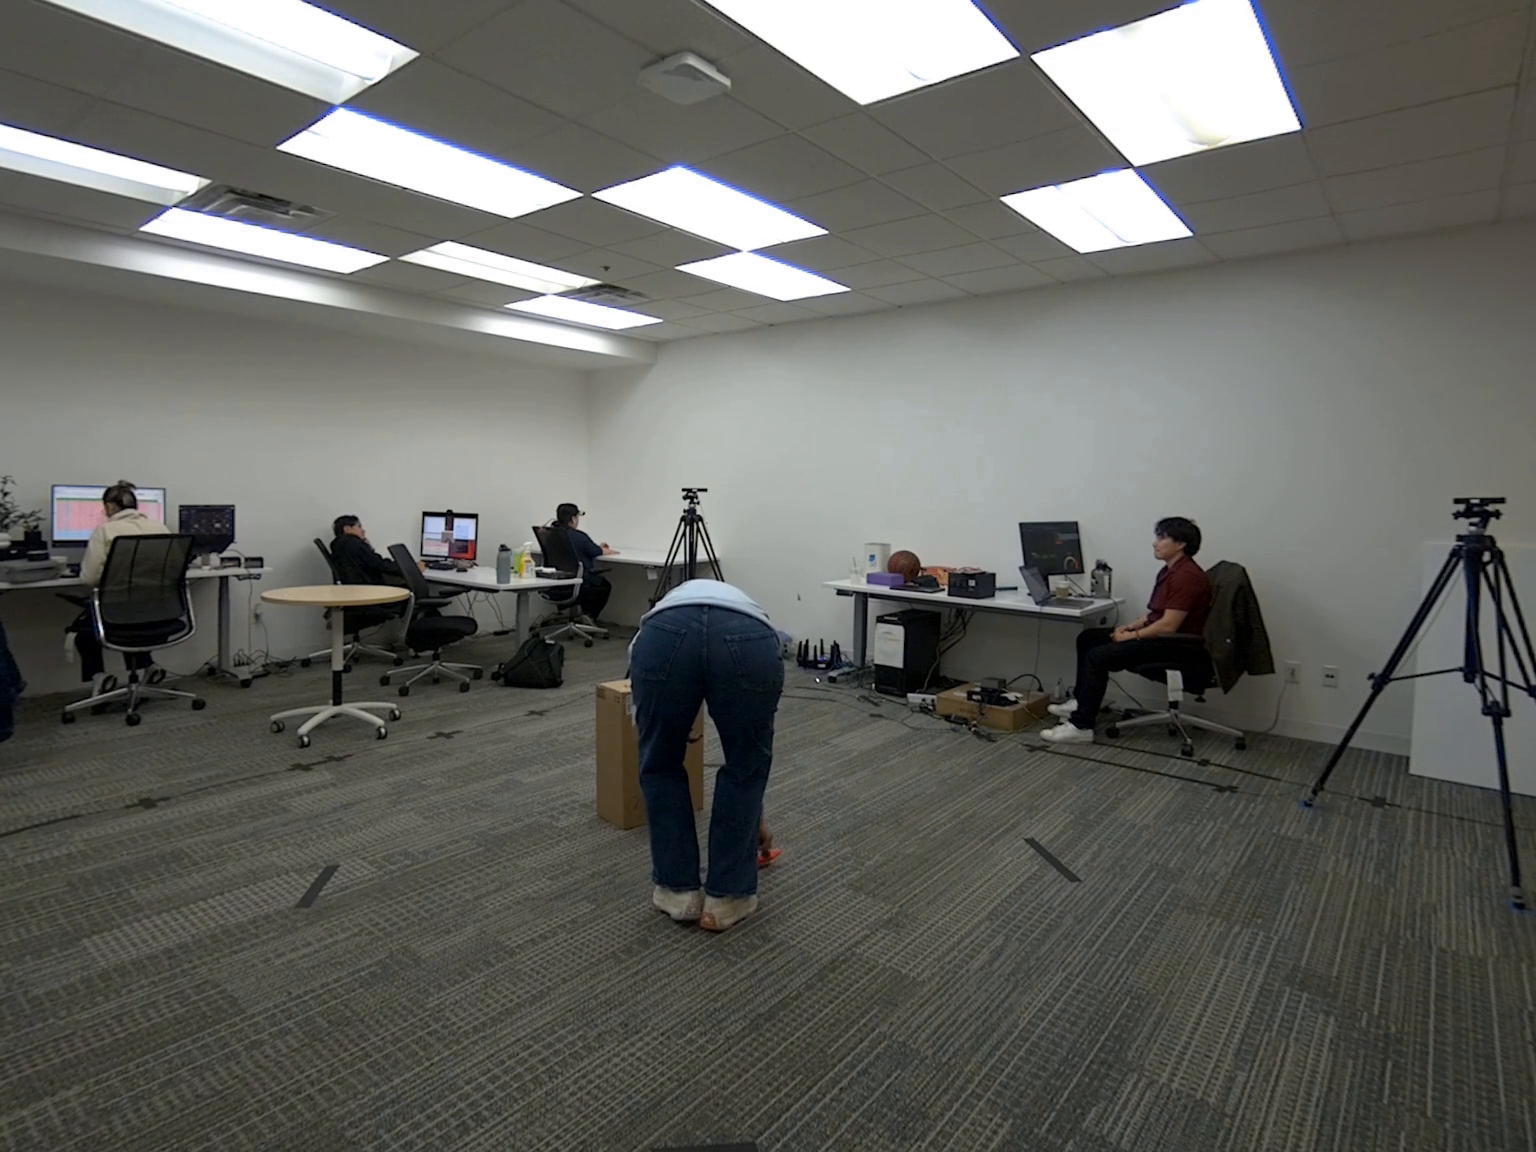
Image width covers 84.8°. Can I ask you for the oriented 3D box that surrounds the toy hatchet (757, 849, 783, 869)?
[{"bbox_3d":[-0.061,0.993,3.076,0.132,0.030,0.259,-28,-34,19],"label":"toy hatchet"}]
